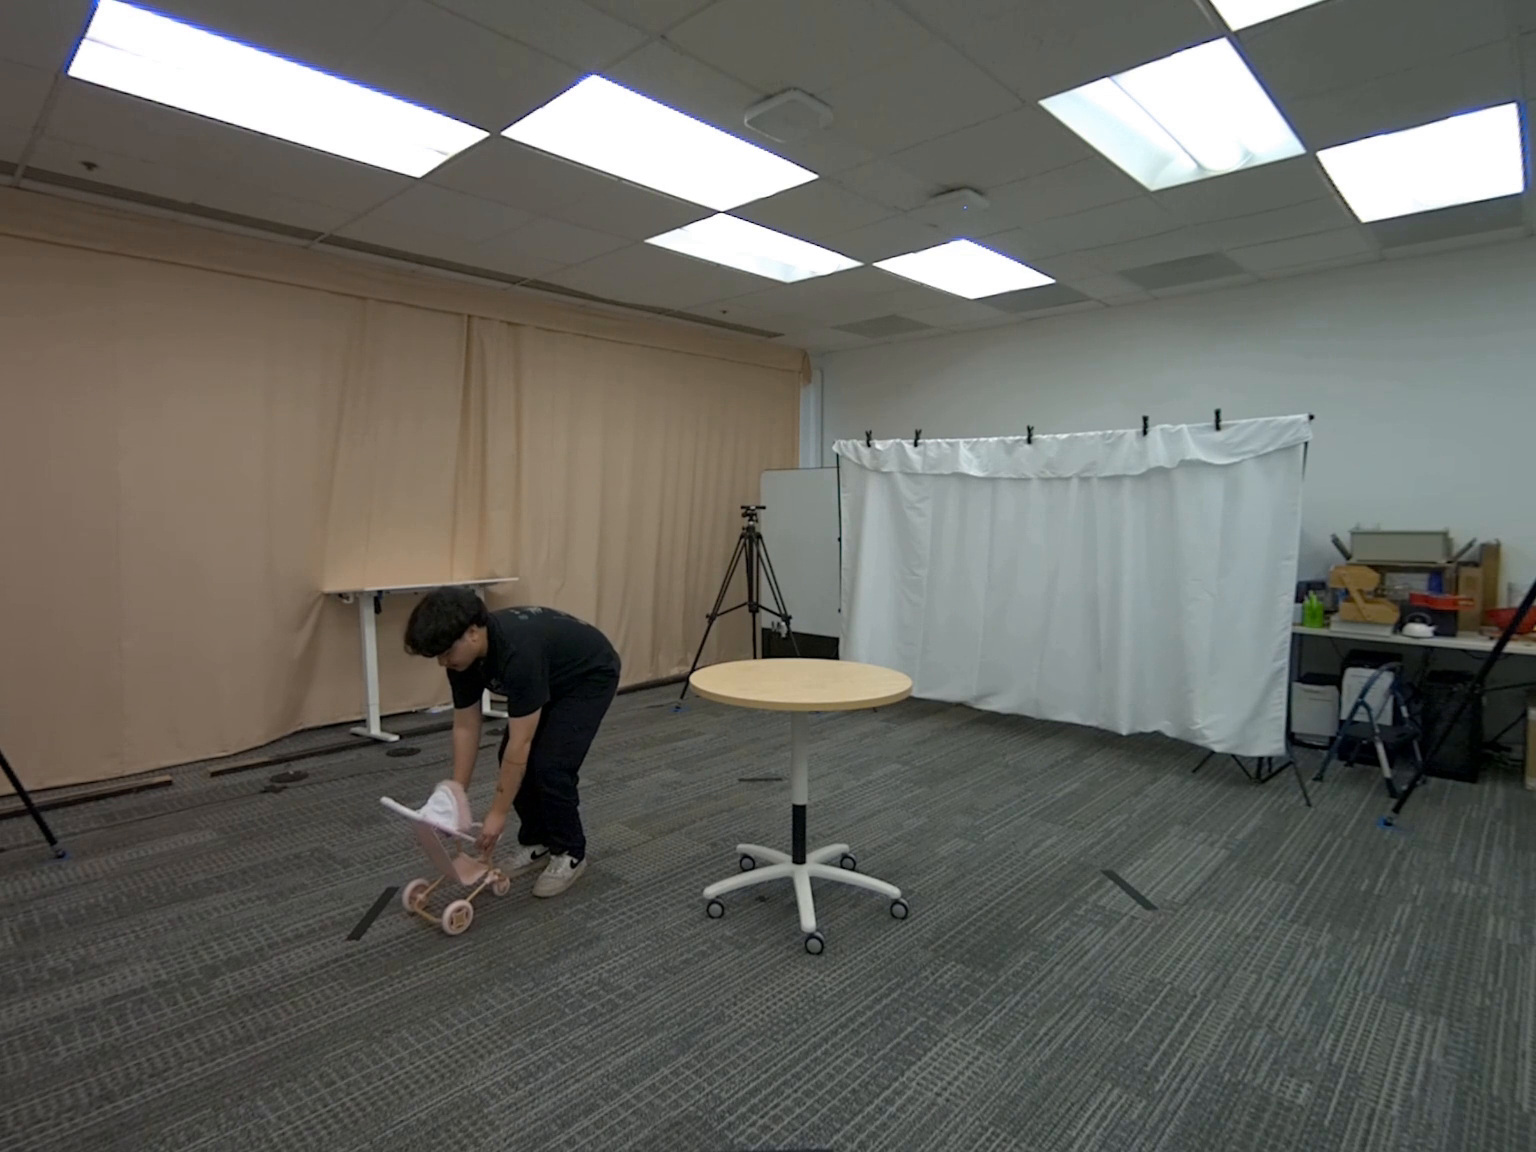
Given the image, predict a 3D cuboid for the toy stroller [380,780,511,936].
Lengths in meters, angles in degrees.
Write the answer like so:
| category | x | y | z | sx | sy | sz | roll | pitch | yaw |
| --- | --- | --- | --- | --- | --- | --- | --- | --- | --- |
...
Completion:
| category | x | y | z | sx | sy | sz | roll | pitch | yaw |
| --- | --- | --- | --- | --- | --- | --- | --- | --- | --- |
| toy stroller | -1.073 | 0.932 | 2.876 | 0.290 | 0.529 | 0.334 | 0 | 18 | 43 |
